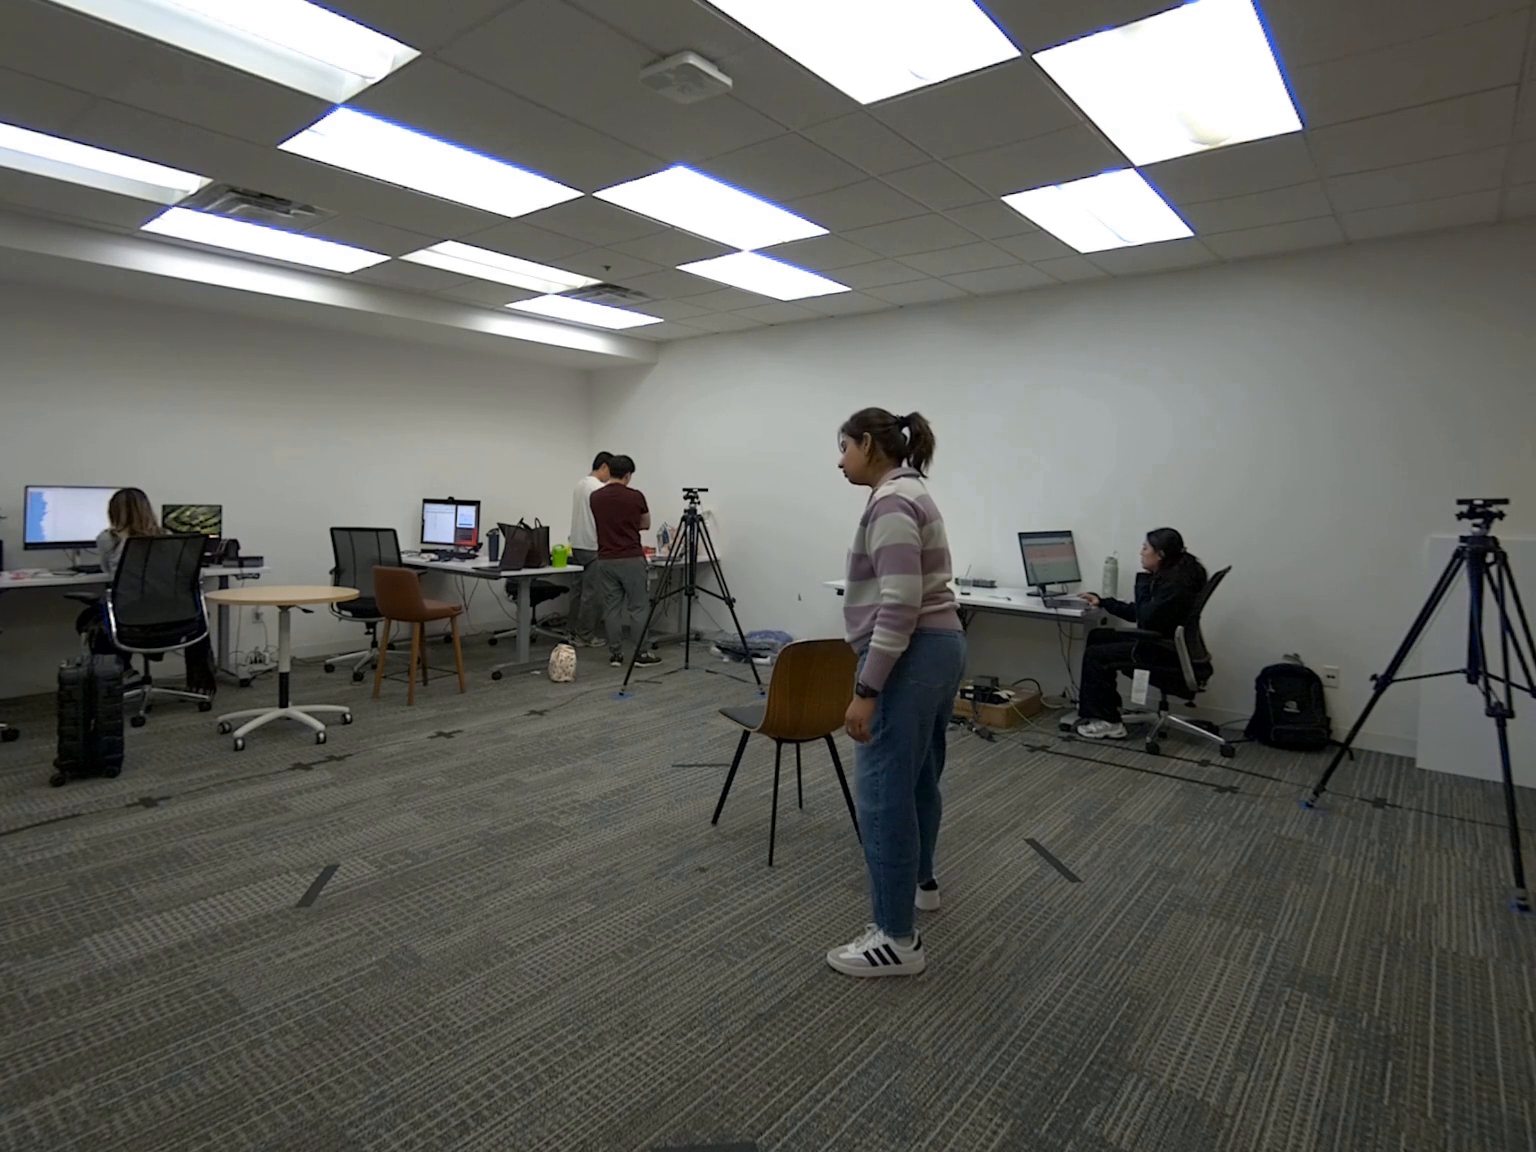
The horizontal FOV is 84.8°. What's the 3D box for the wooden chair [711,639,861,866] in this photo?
[{"bbox_3d":[0.071,0.618,3.424,0.465,0.872,0.541,0,8,-31],"label":"wooden chair"}]
